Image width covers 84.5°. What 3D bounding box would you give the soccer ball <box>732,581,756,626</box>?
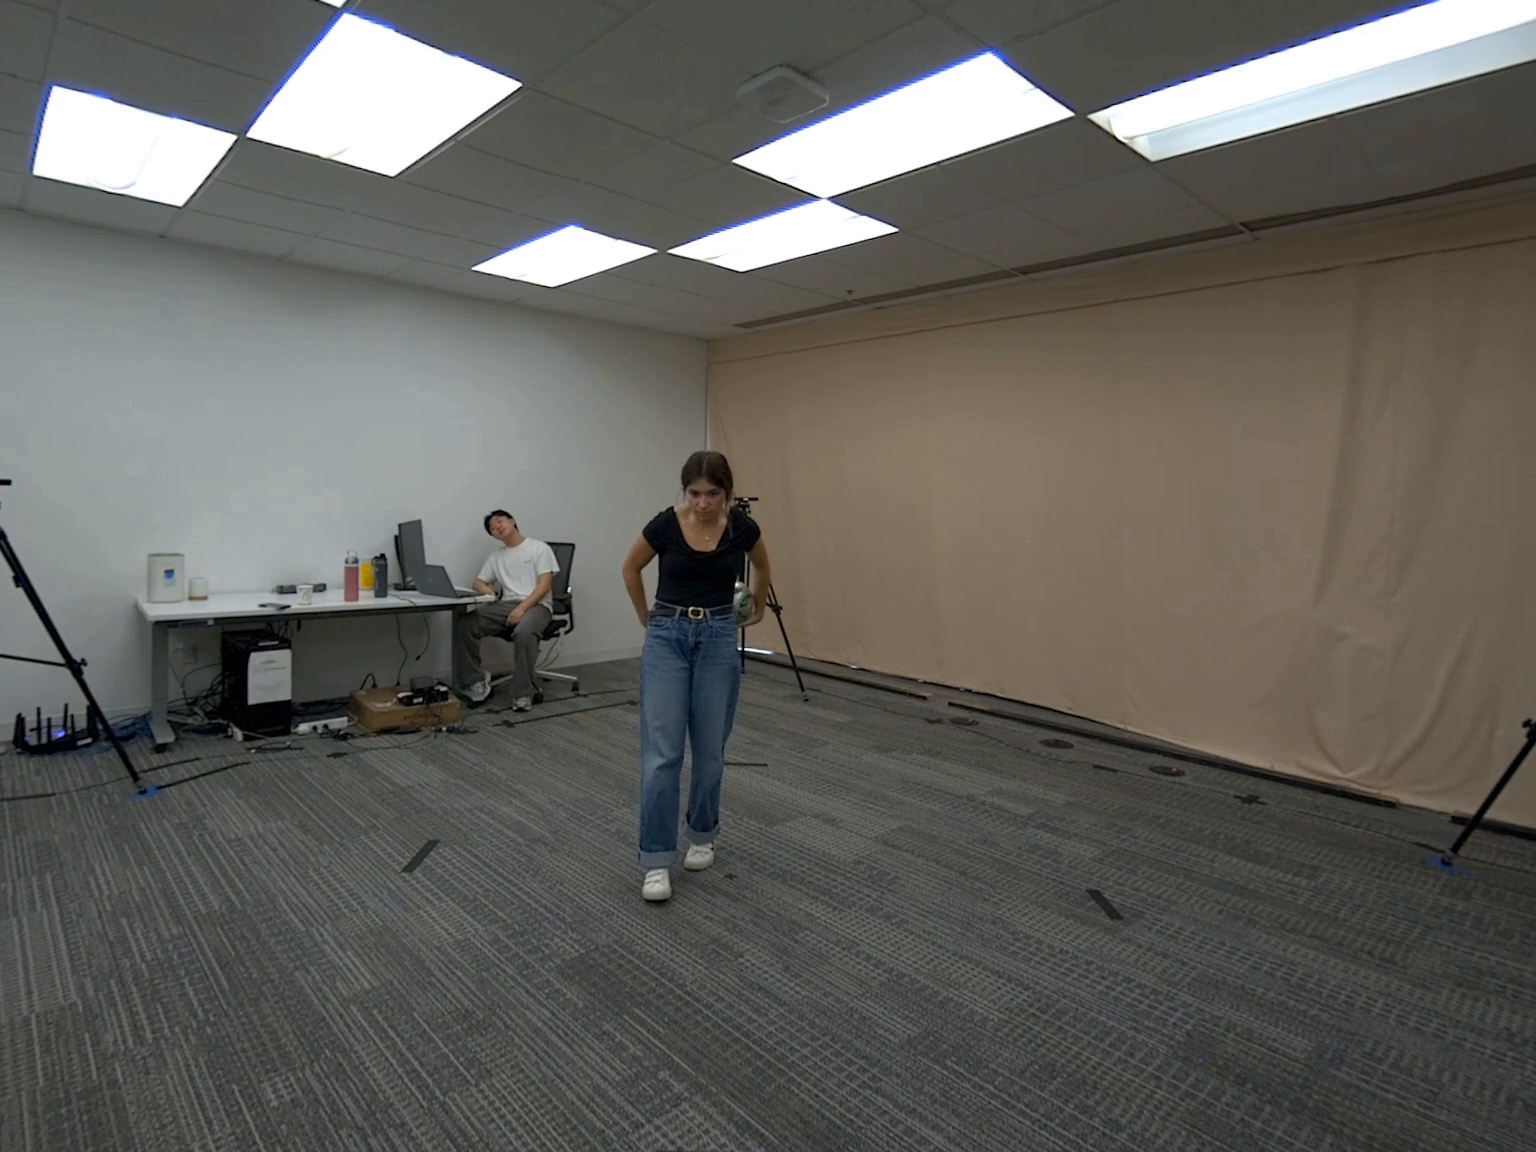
[{"bbox_3d":[-0.152,0.118,3.379,0.187,0.187,0.188,1,4,-1],"label":"soccer ball"}]
